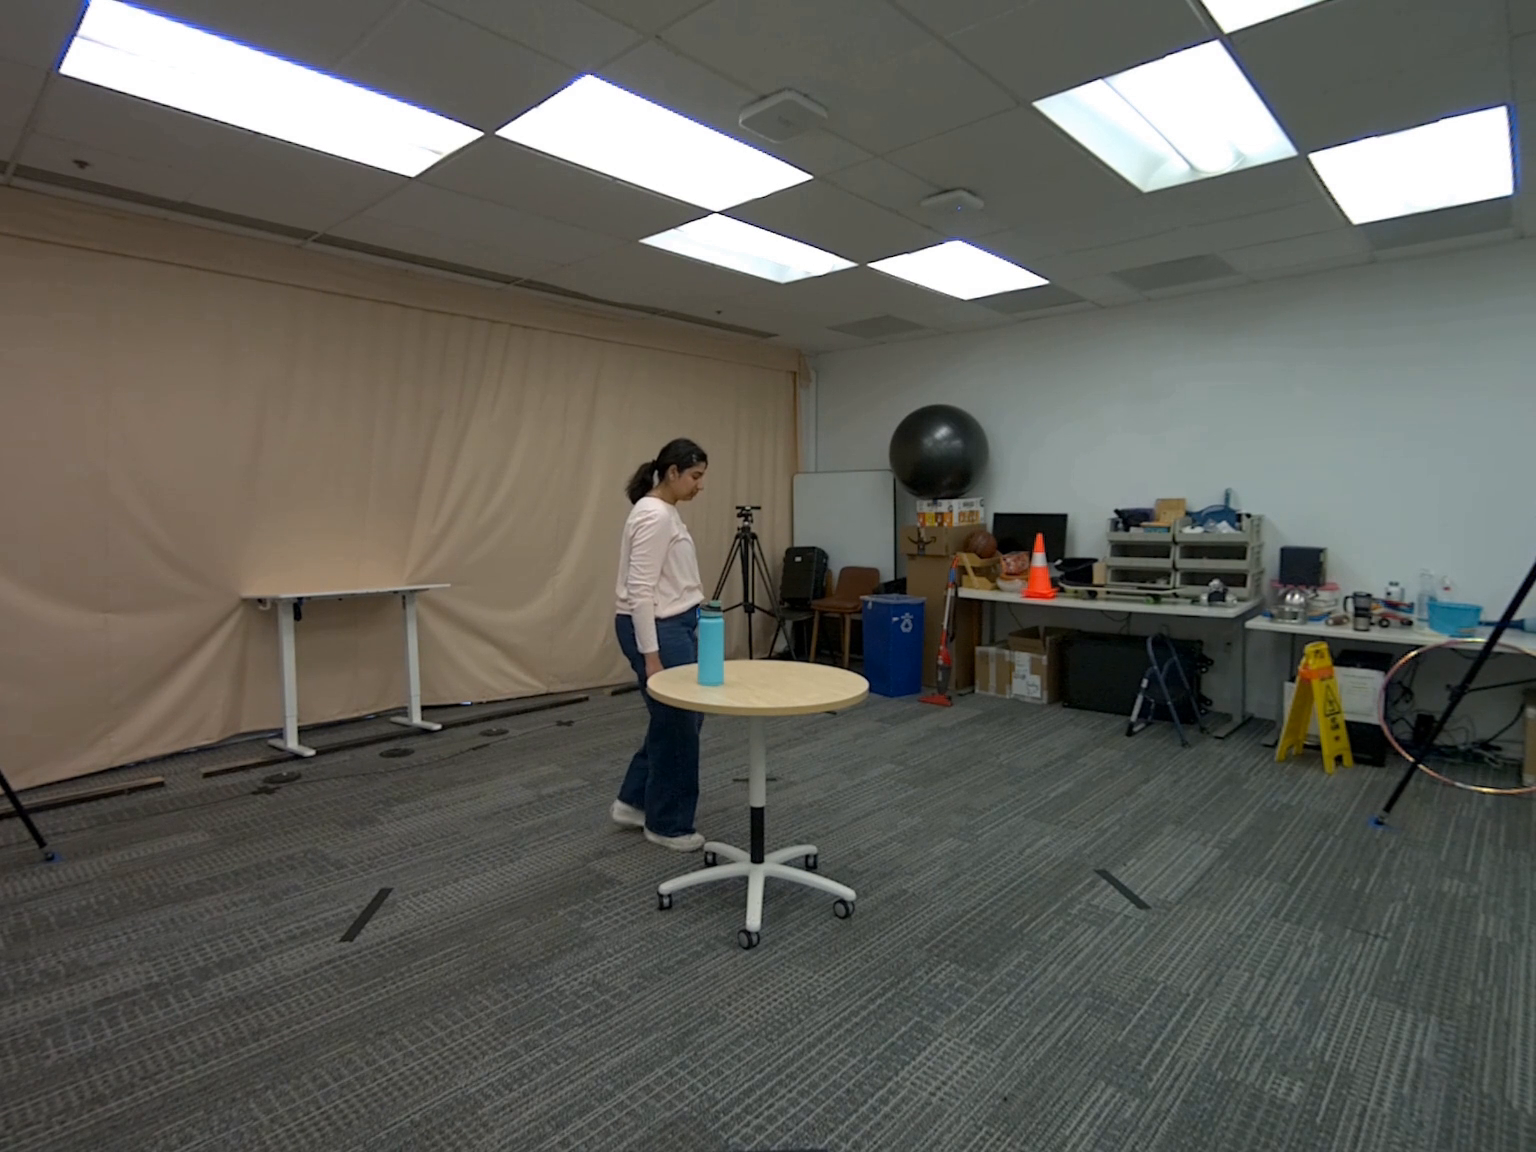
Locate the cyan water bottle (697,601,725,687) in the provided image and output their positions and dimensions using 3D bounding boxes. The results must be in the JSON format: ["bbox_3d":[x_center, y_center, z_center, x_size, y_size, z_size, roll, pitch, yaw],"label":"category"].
[{"bbox_3d":[-0.200,0.233,2.877,0.092,0.283,0.092,-2,3,-2],"label":"cyan water bottle"}]
